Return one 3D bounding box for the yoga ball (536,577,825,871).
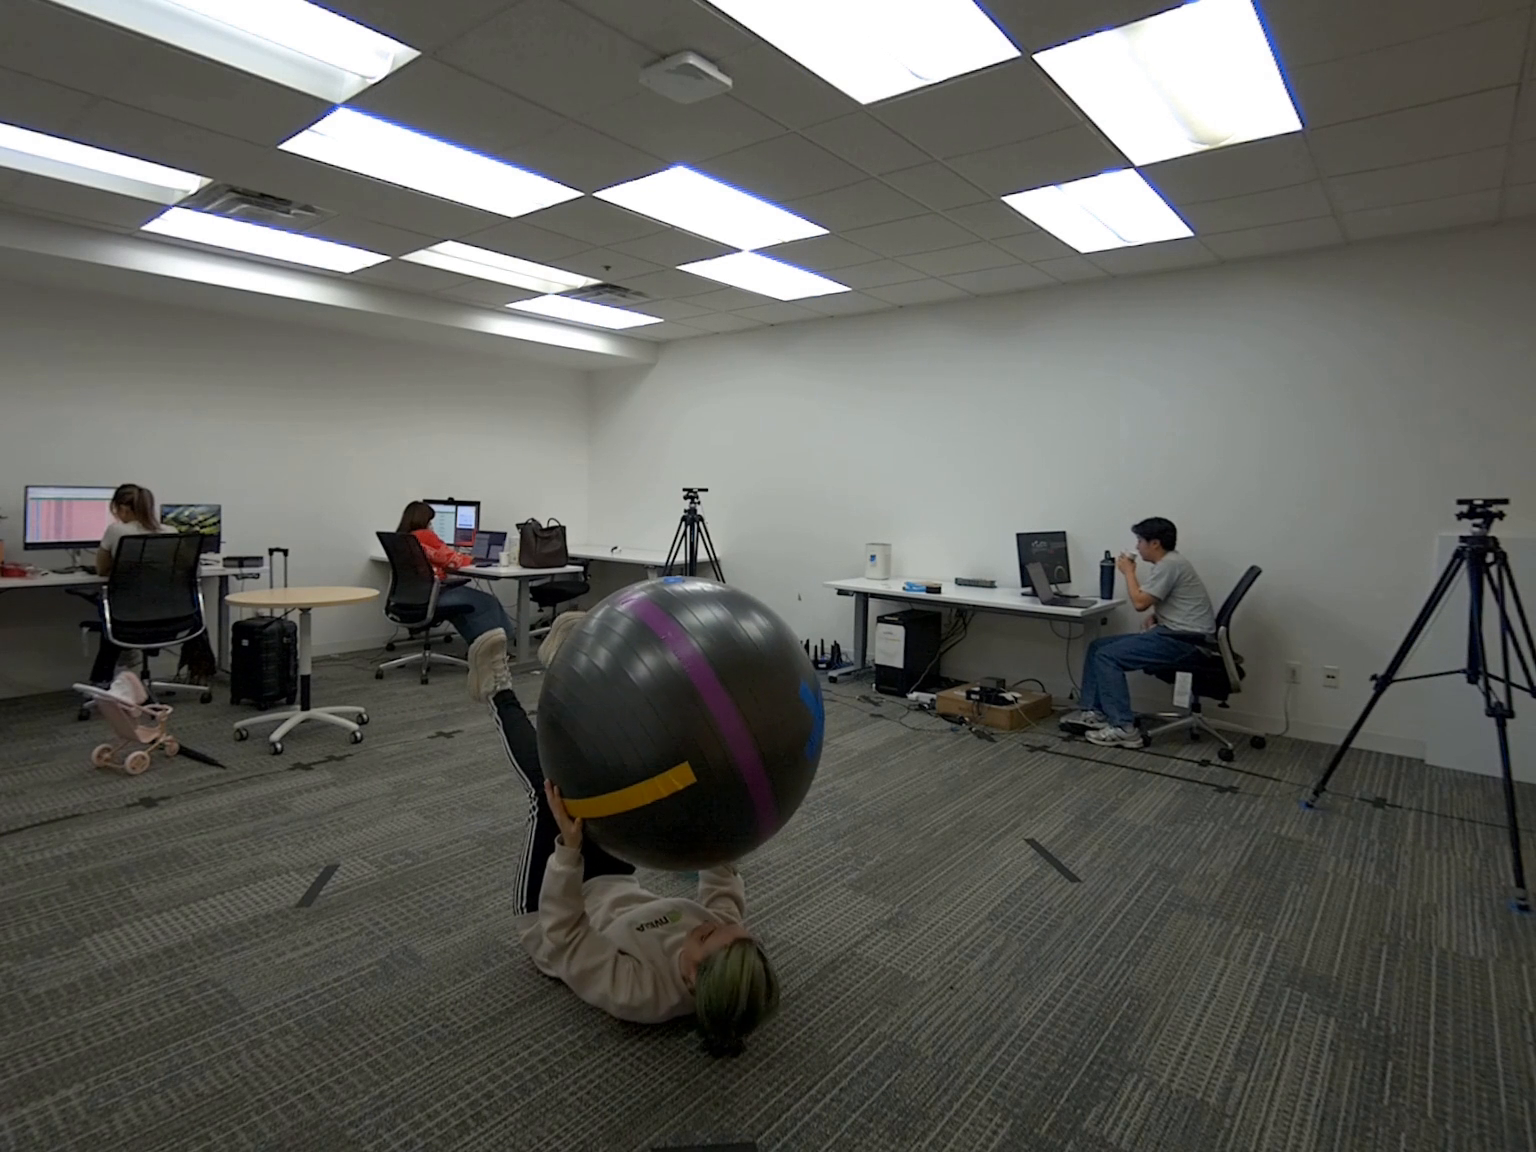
[{"bbox_3d":[-0.229,0.383,2.257,0.757,0.755,0.762,1,4,-2],"label":"yoga ball"}]
